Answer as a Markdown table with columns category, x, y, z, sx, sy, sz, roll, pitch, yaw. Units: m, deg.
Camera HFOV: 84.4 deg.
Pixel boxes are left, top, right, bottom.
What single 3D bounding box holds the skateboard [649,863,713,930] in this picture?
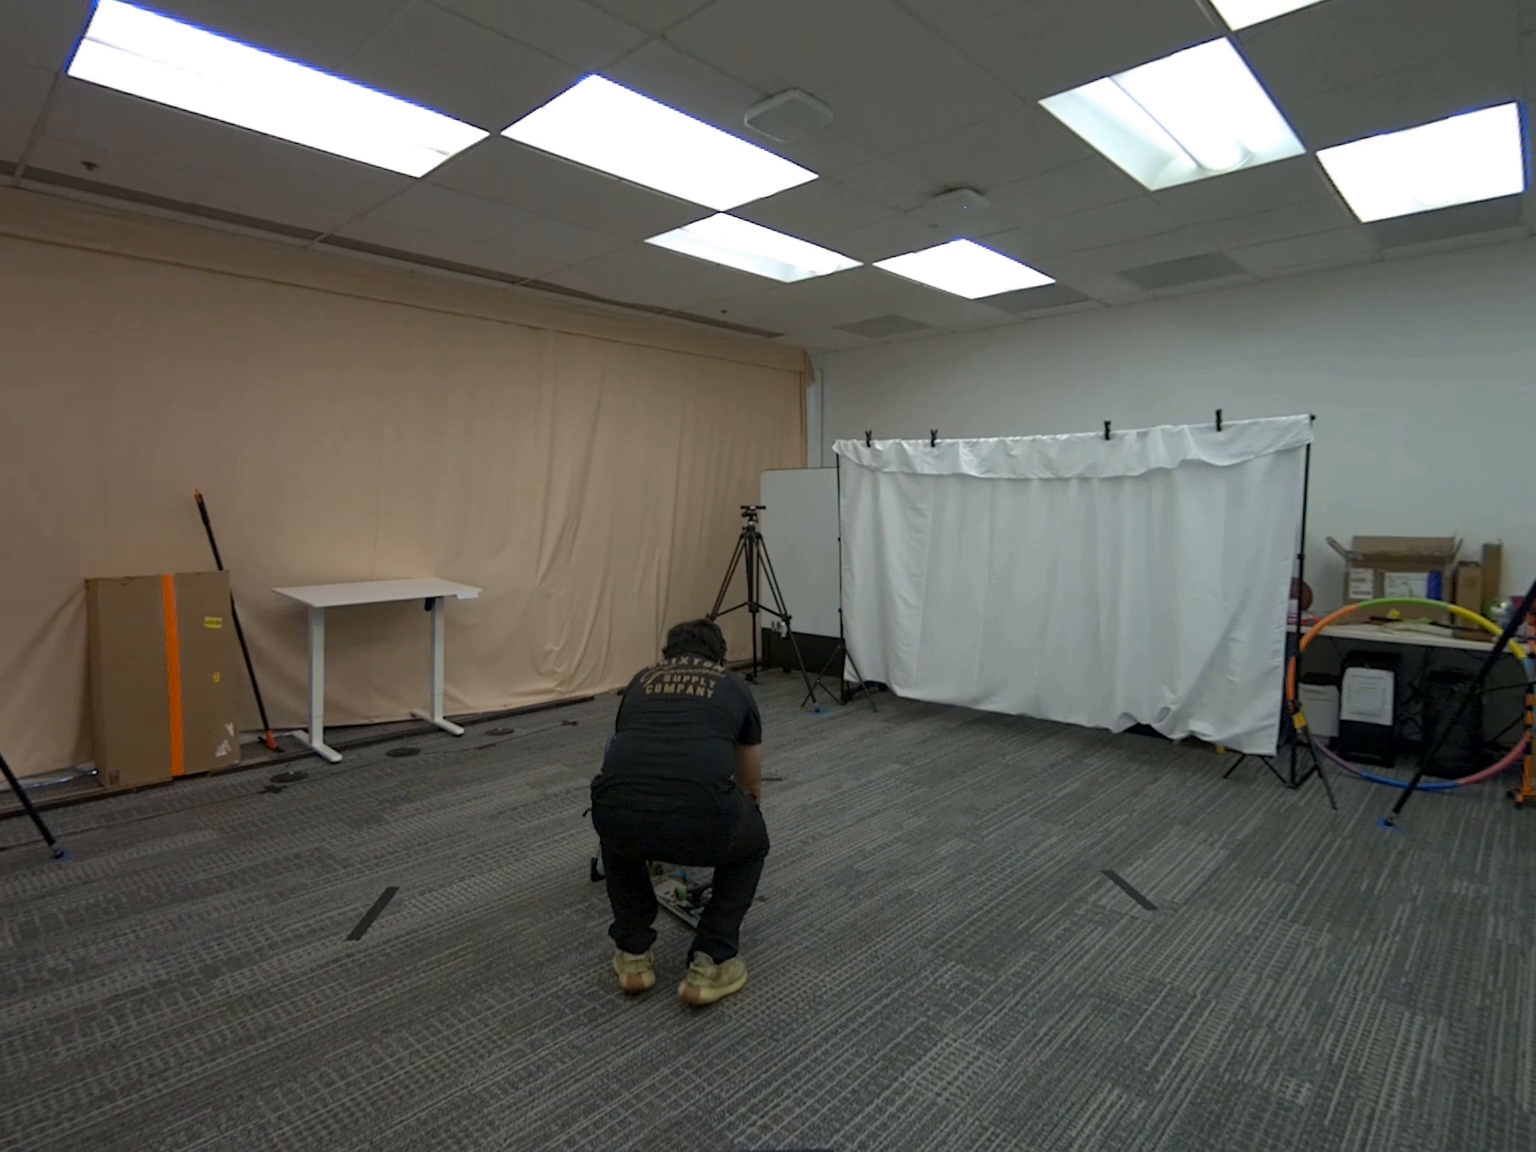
| category | x | y | z | sx | sy | sz | roll | pitch | yaw |
| --- | --- | --- | --- | --- | --- | --- | --- | --- | --- |
| skateboard | -0.367 | 1.095 | 3.037 | 0.187 | 0.110 | 0.811 | -3 | 6 | -39 |
